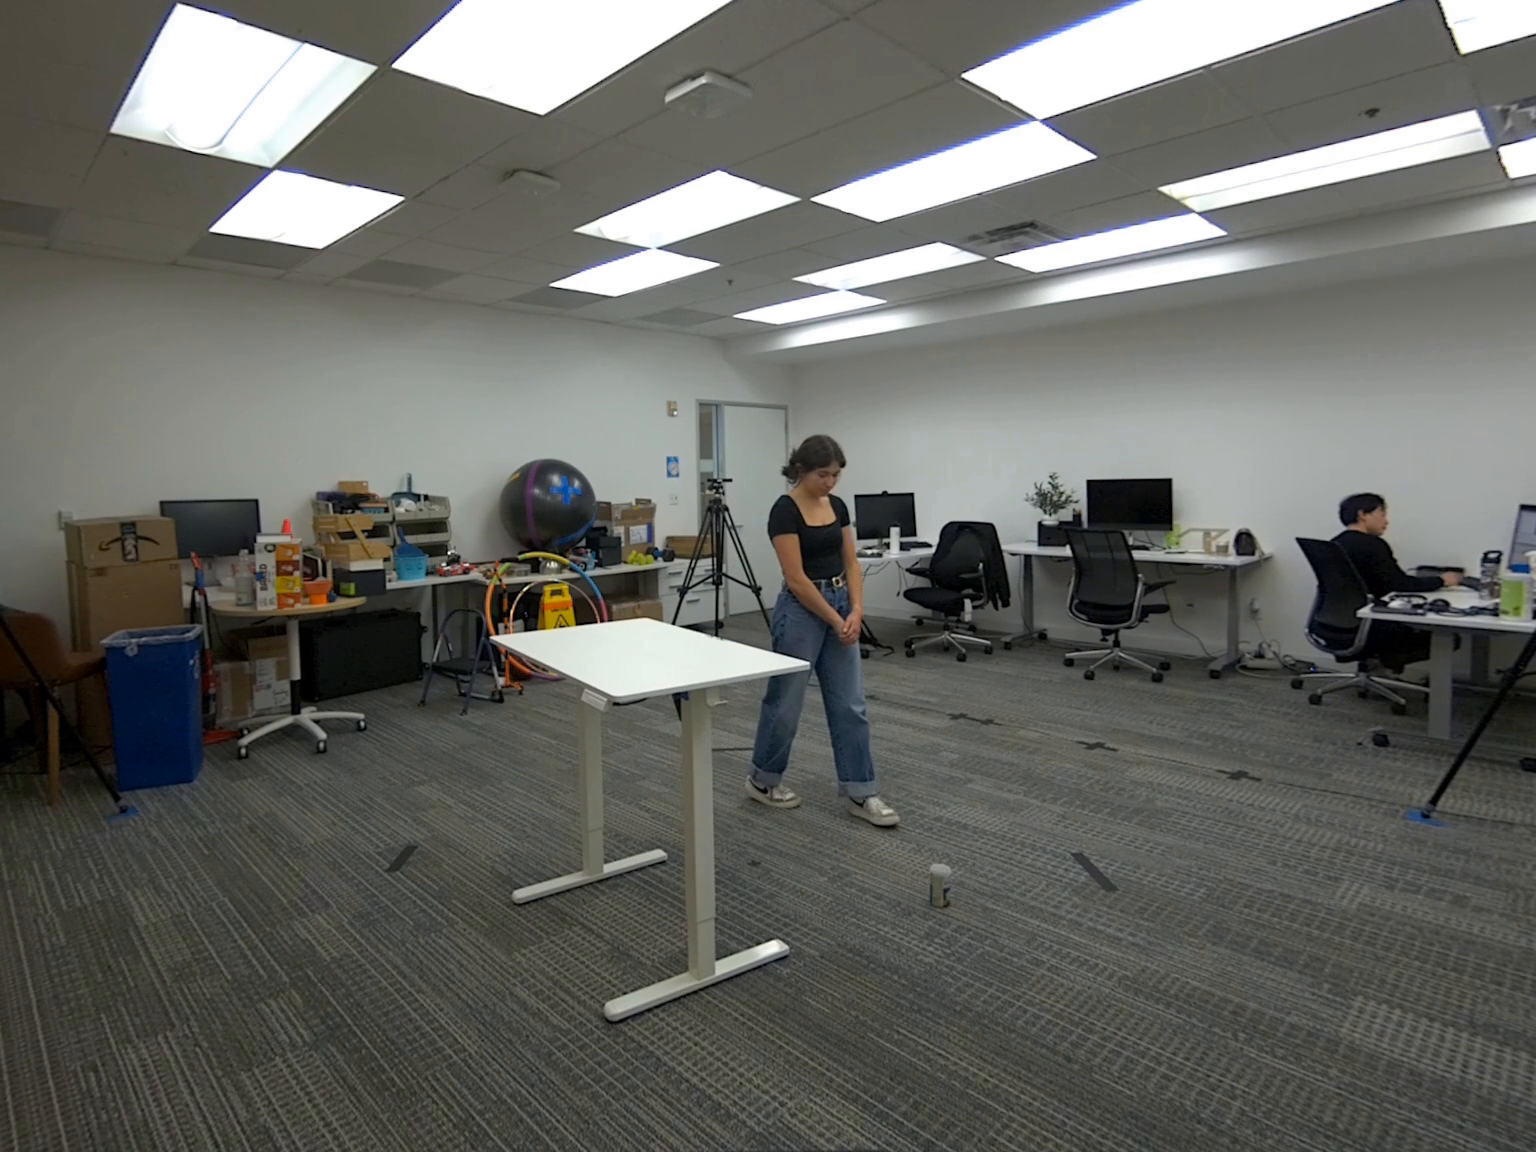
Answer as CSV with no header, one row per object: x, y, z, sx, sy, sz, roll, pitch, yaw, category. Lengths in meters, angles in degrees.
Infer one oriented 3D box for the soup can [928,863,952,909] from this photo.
0.552,1.007,2.782,0.067,0.121,0.067,-2,7,-1,soup can
